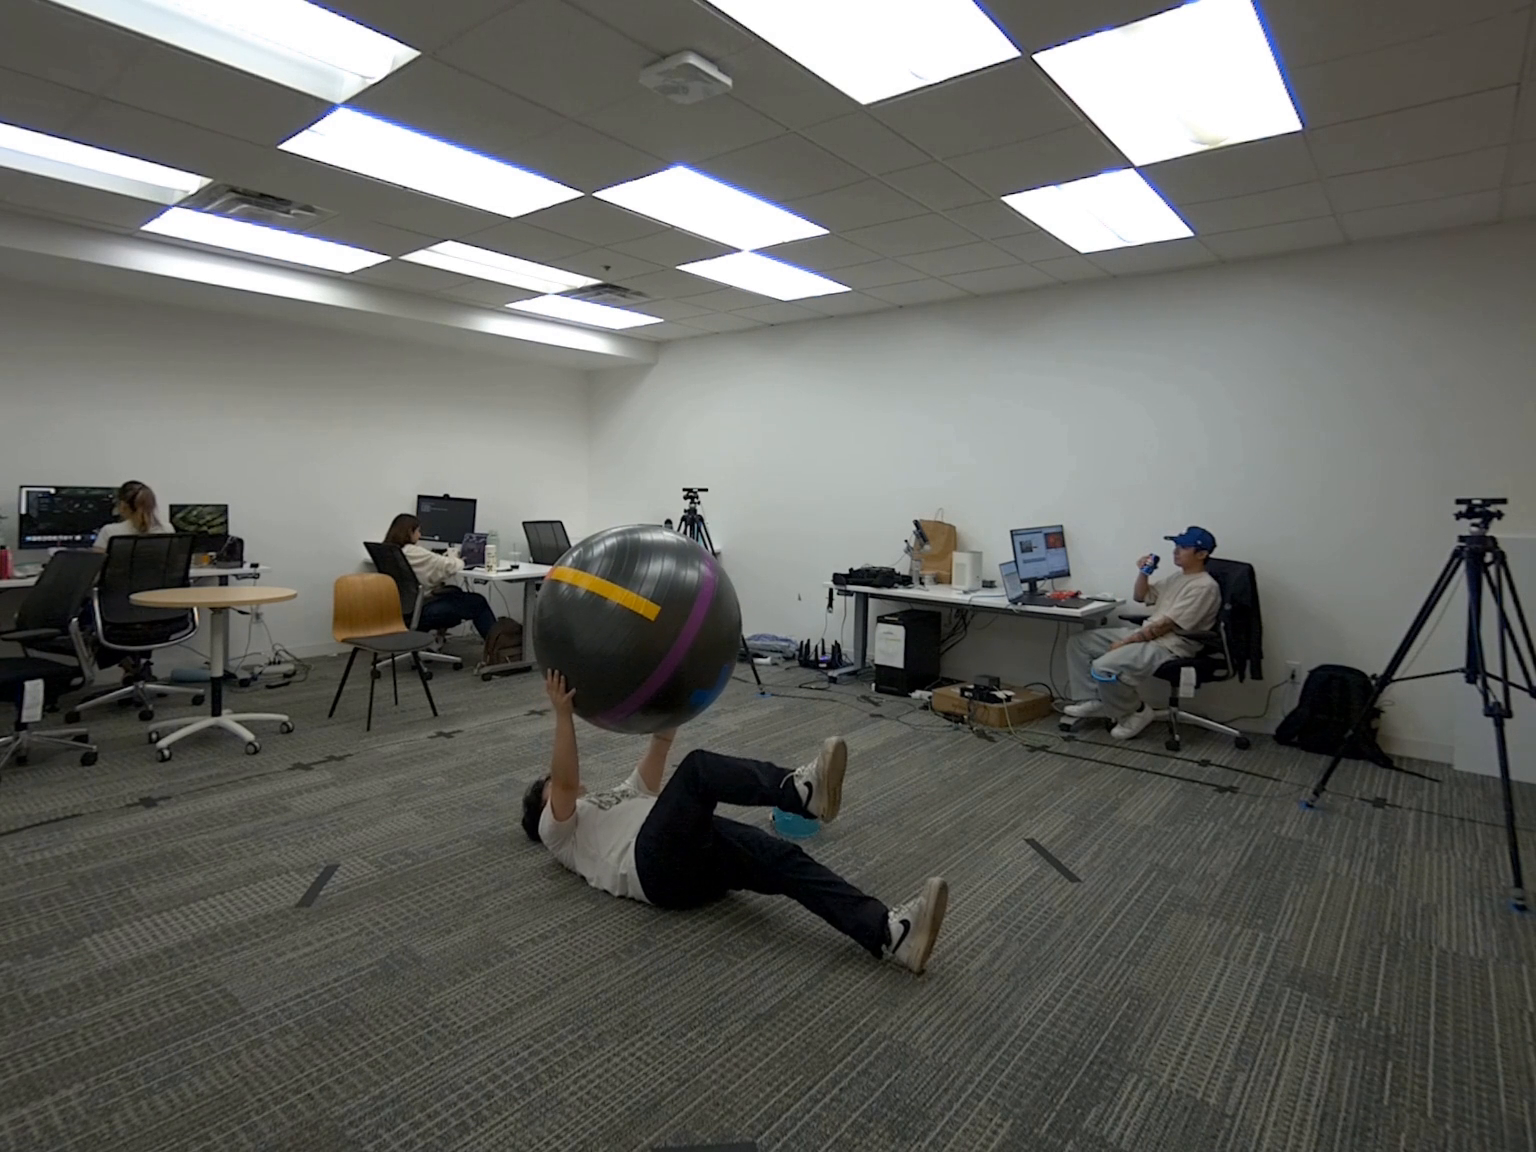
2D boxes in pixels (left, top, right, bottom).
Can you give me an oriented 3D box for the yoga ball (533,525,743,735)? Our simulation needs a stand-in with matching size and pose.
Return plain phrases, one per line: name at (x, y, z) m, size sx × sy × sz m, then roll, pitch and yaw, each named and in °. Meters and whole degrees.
yoga ball at (-0.484, 0.194, 3.097) m, size 0.757 × 0.756 × 0.761 m, roll 1°, pitch 4°, yaw -2°
